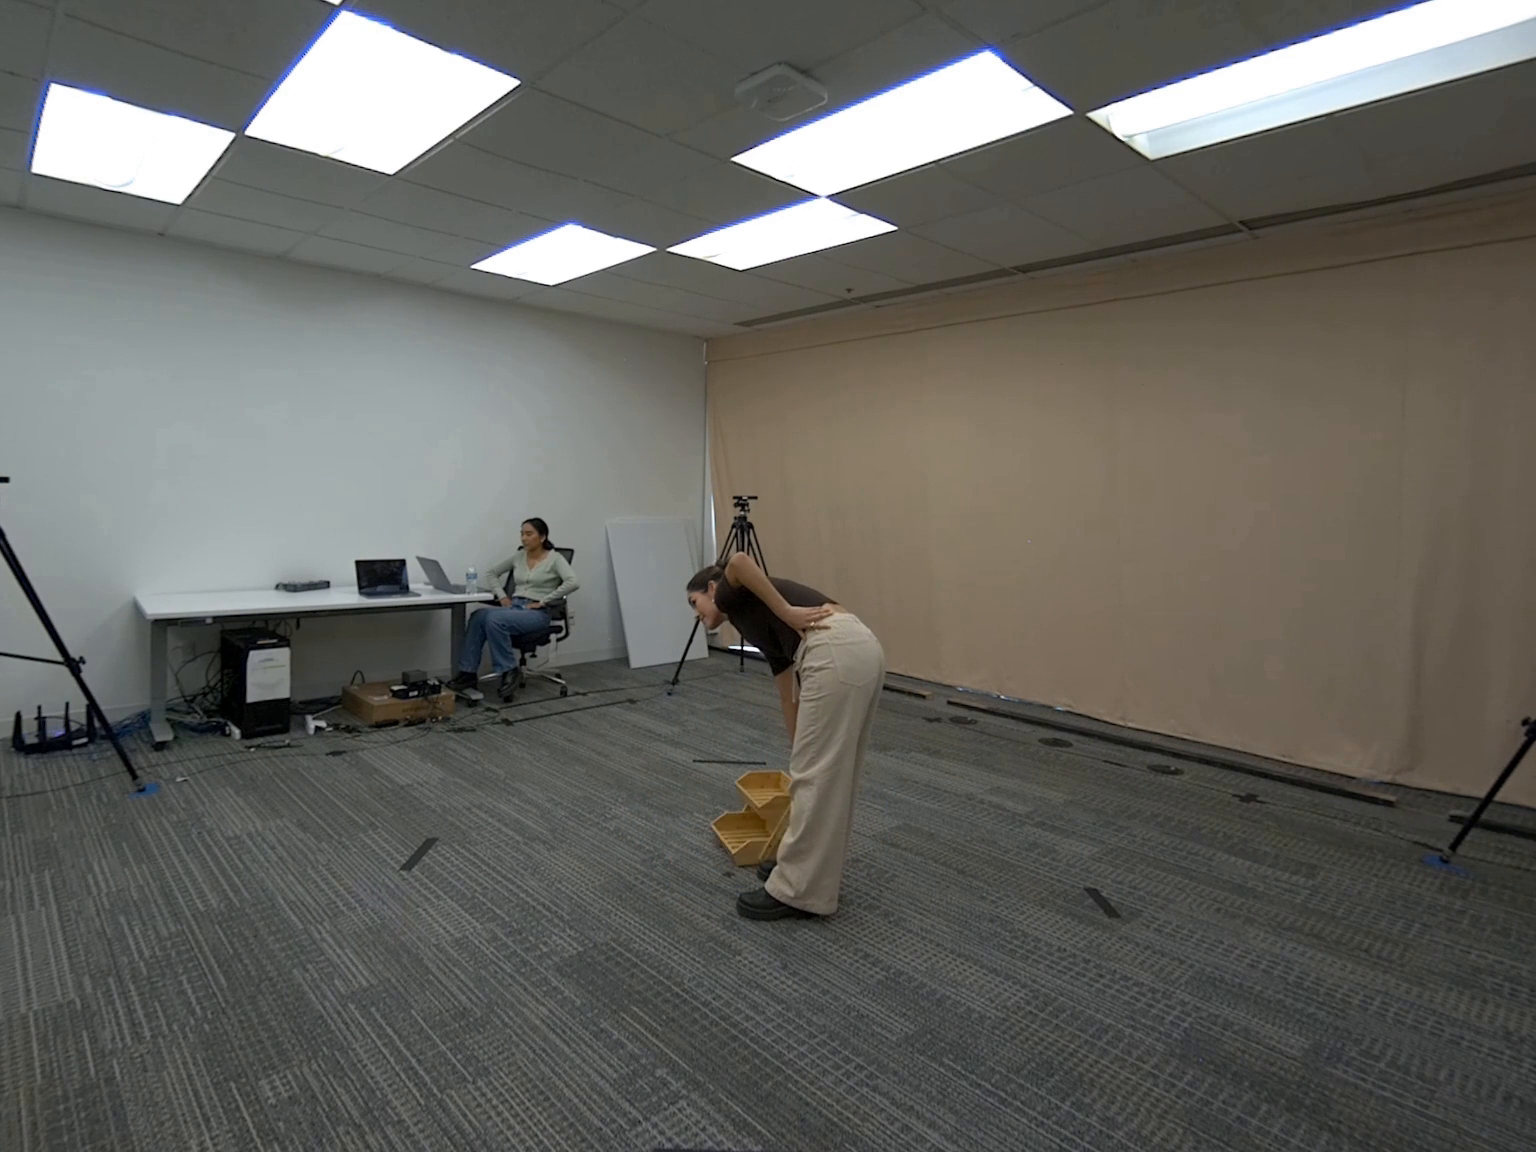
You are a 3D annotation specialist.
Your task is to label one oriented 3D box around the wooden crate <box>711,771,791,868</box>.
[{"bbox_3d":[-0.050,0.945,3.334,0.297,0.273,0.330,3,3,-20],"label":"wooden crate"}]
